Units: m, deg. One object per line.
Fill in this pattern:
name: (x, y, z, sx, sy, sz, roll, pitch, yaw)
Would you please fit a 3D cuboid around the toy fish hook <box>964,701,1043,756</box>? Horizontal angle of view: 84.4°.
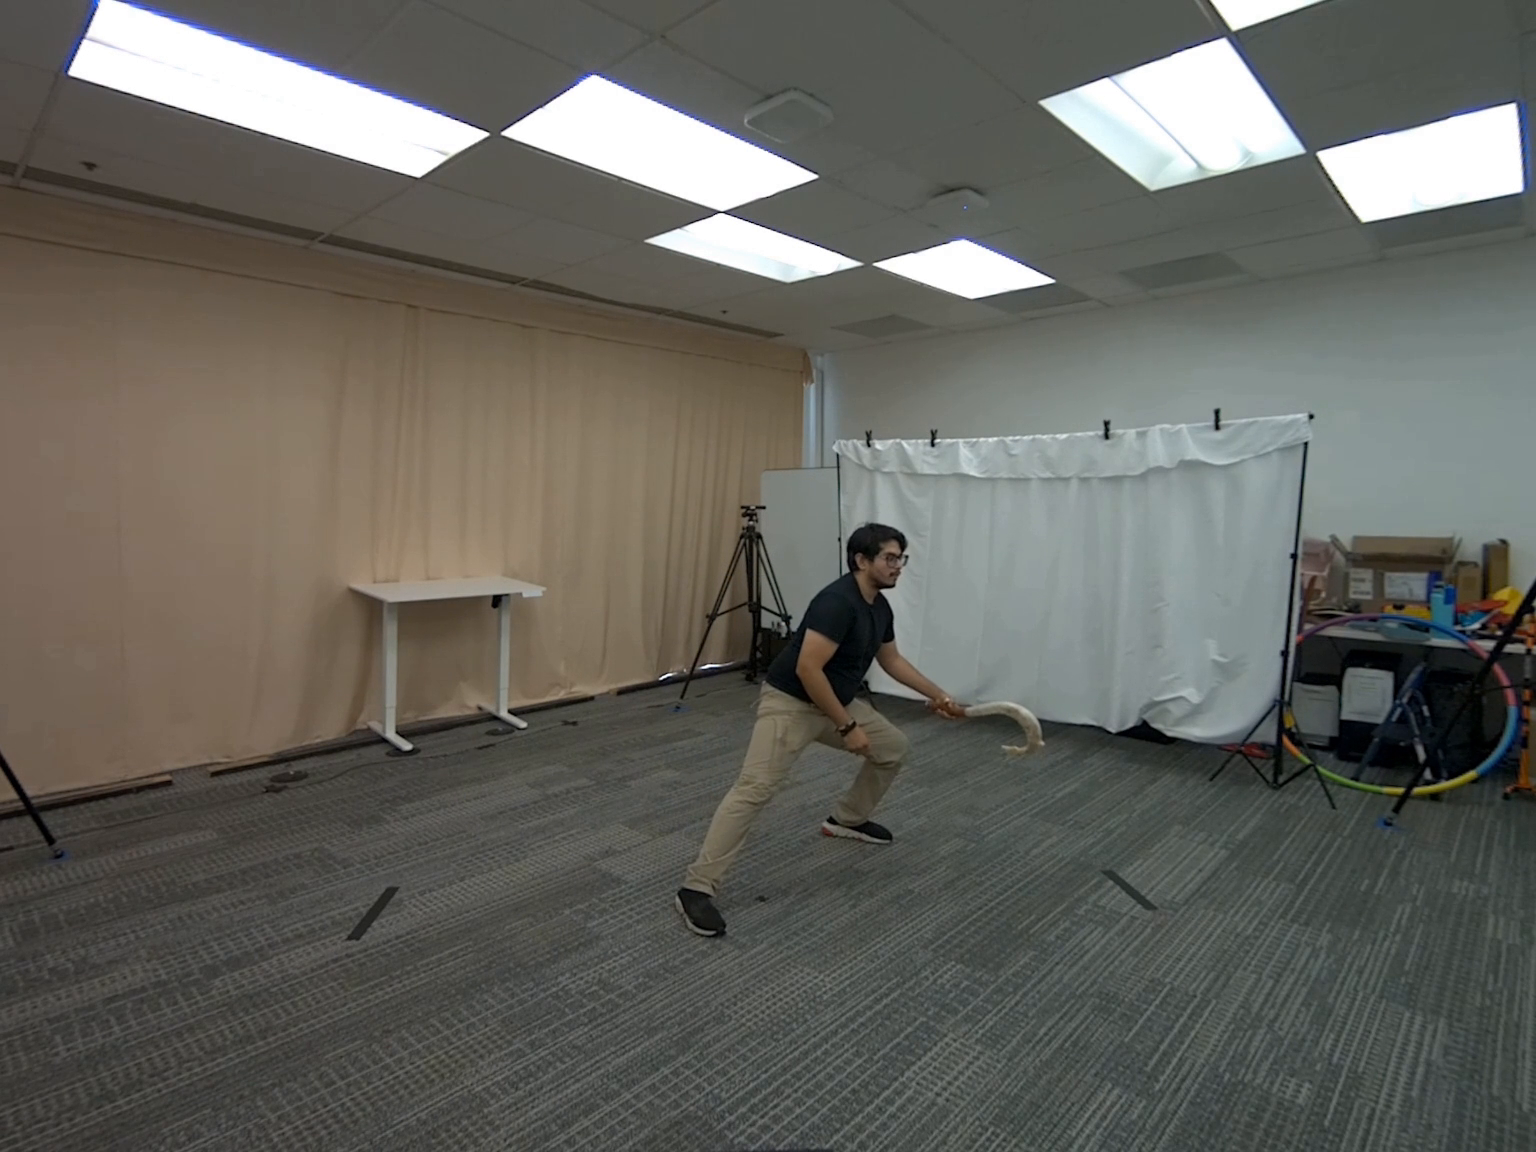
toy fish hook: (0.834, 0.583, 3.252, 0.047, 0.223, 0.522, -19, 10, -37)
